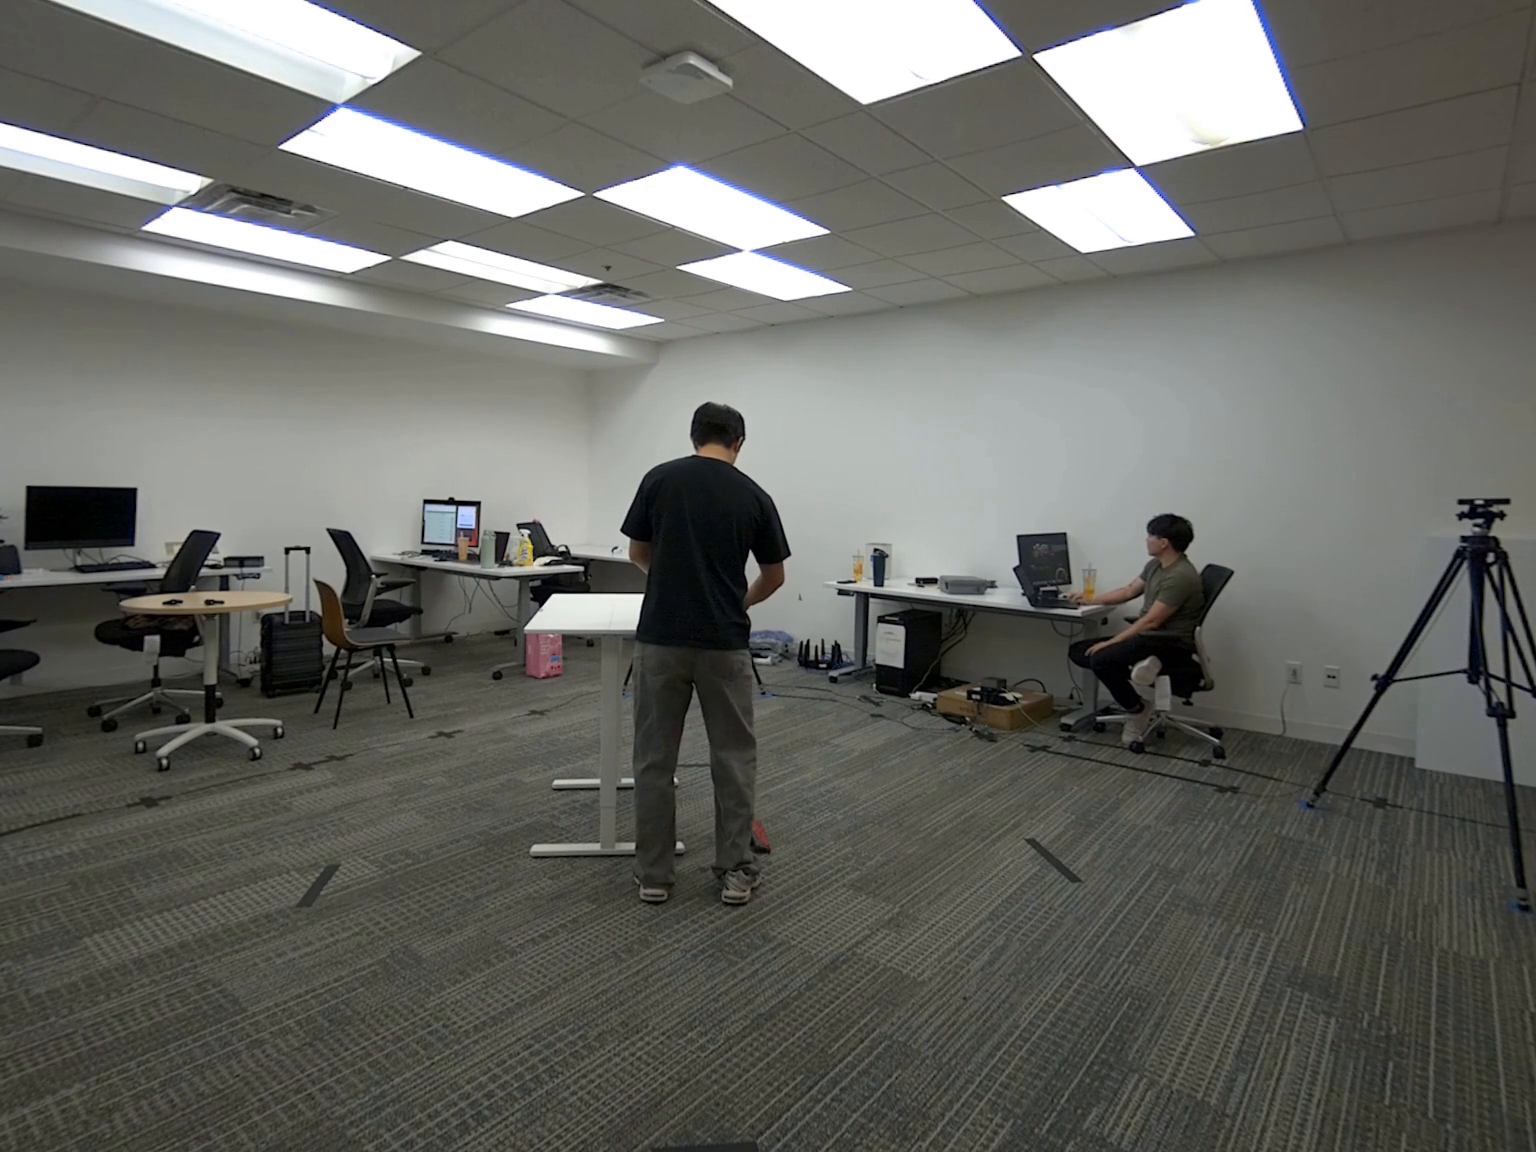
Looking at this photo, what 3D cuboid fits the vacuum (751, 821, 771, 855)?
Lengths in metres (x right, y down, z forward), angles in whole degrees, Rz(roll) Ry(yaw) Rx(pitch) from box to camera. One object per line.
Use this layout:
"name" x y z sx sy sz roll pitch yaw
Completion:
"vacuum" -0.172 0.507 3.319 0.143 1.042 0.255 -11 6 -5
